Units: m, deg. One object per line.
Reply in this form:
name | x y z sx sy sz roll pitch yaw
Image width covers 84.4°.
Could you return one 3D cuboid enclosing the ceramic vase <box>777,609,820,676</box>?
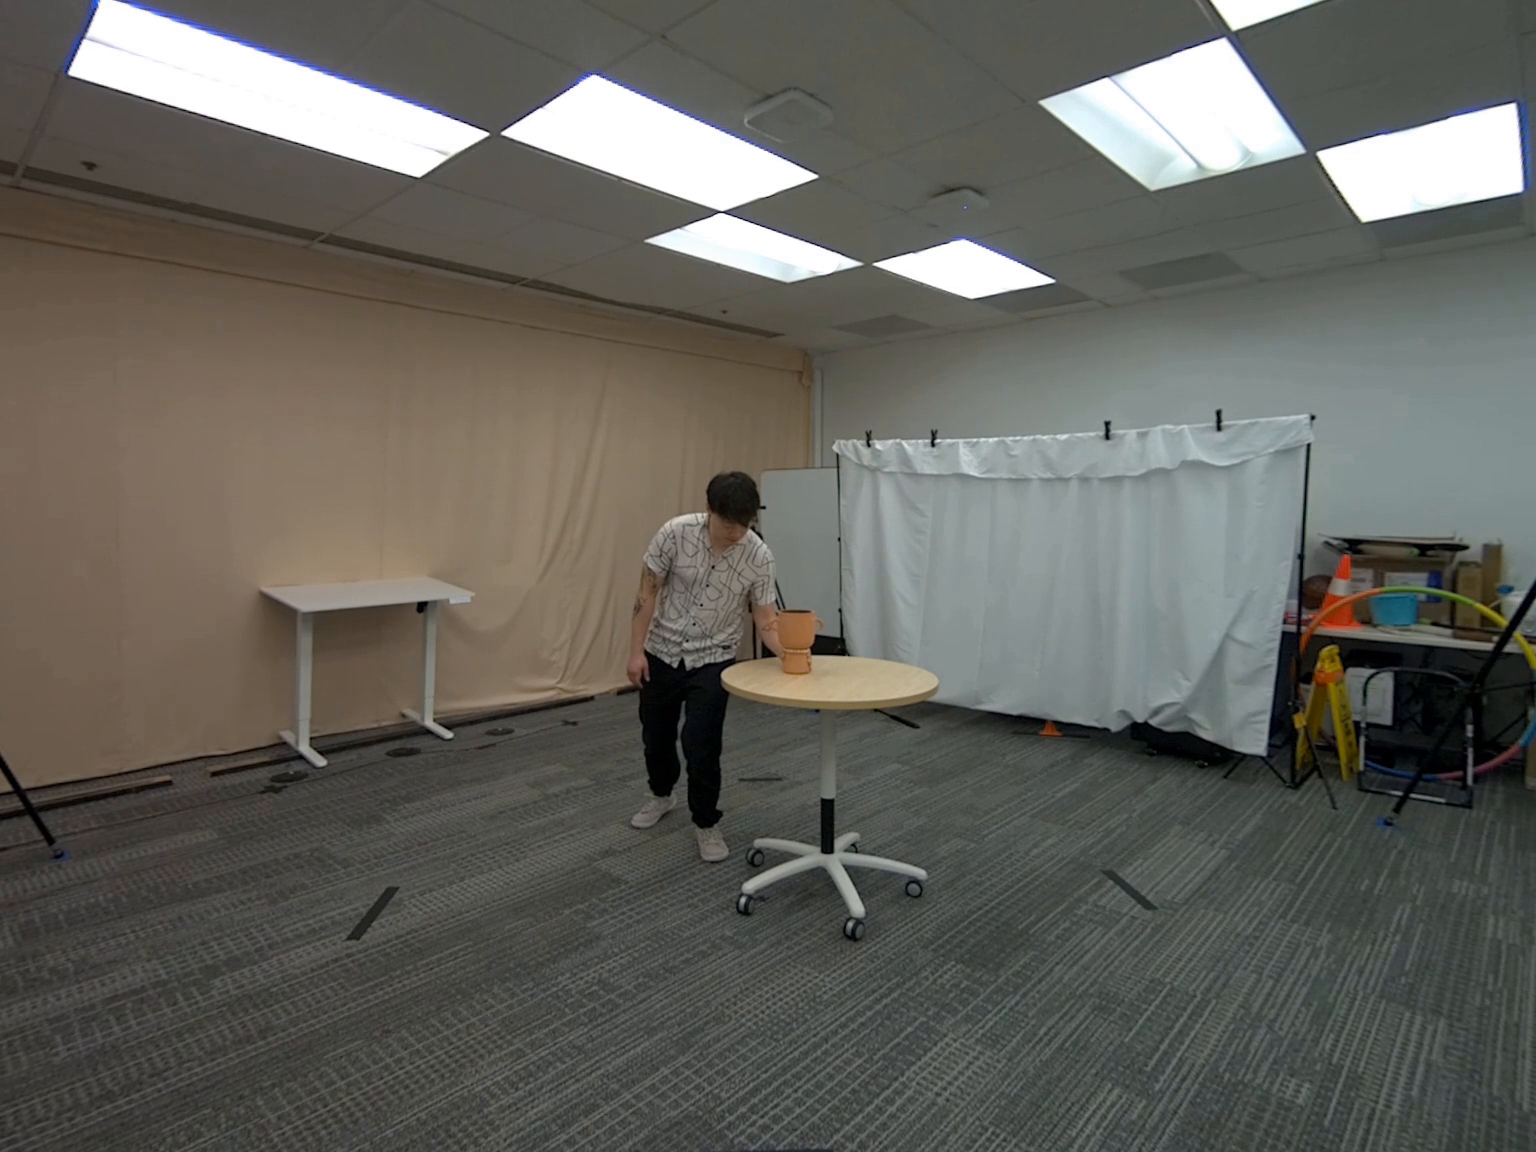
ceramic vase | 0.110 0.237 3.068 0.164 0.219 0.131 2 3 34
